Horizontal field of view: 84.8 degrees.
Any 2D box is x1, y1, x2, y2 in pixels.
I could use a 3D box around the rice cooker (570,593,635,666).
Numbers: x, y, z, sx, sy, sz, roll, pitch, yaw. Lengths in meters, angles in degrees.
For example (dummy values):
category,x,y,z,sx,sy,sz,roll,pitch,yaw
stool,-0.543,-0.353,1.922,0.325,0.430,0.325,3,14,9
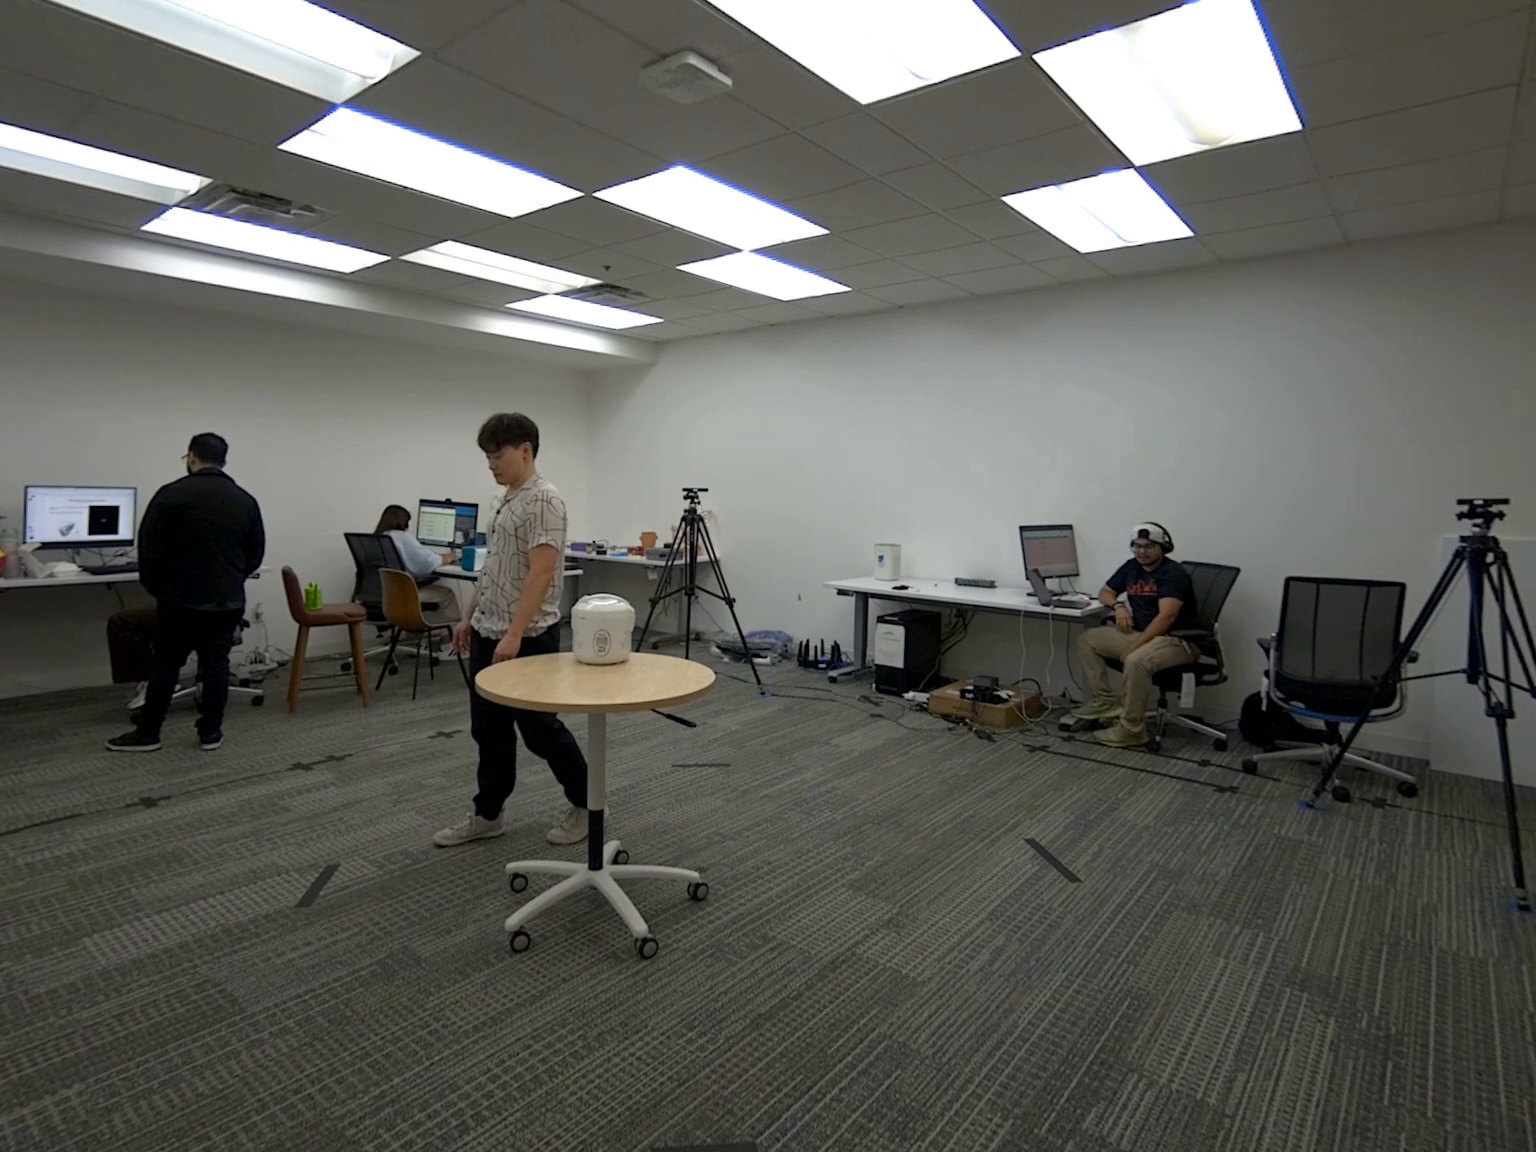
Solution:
category,x,y,z,sx,sy,sz,roll,pitch,yaw
rice cooker,-0.586,0.176,2.968,0.219,0.232,0.220,1,4,-9
